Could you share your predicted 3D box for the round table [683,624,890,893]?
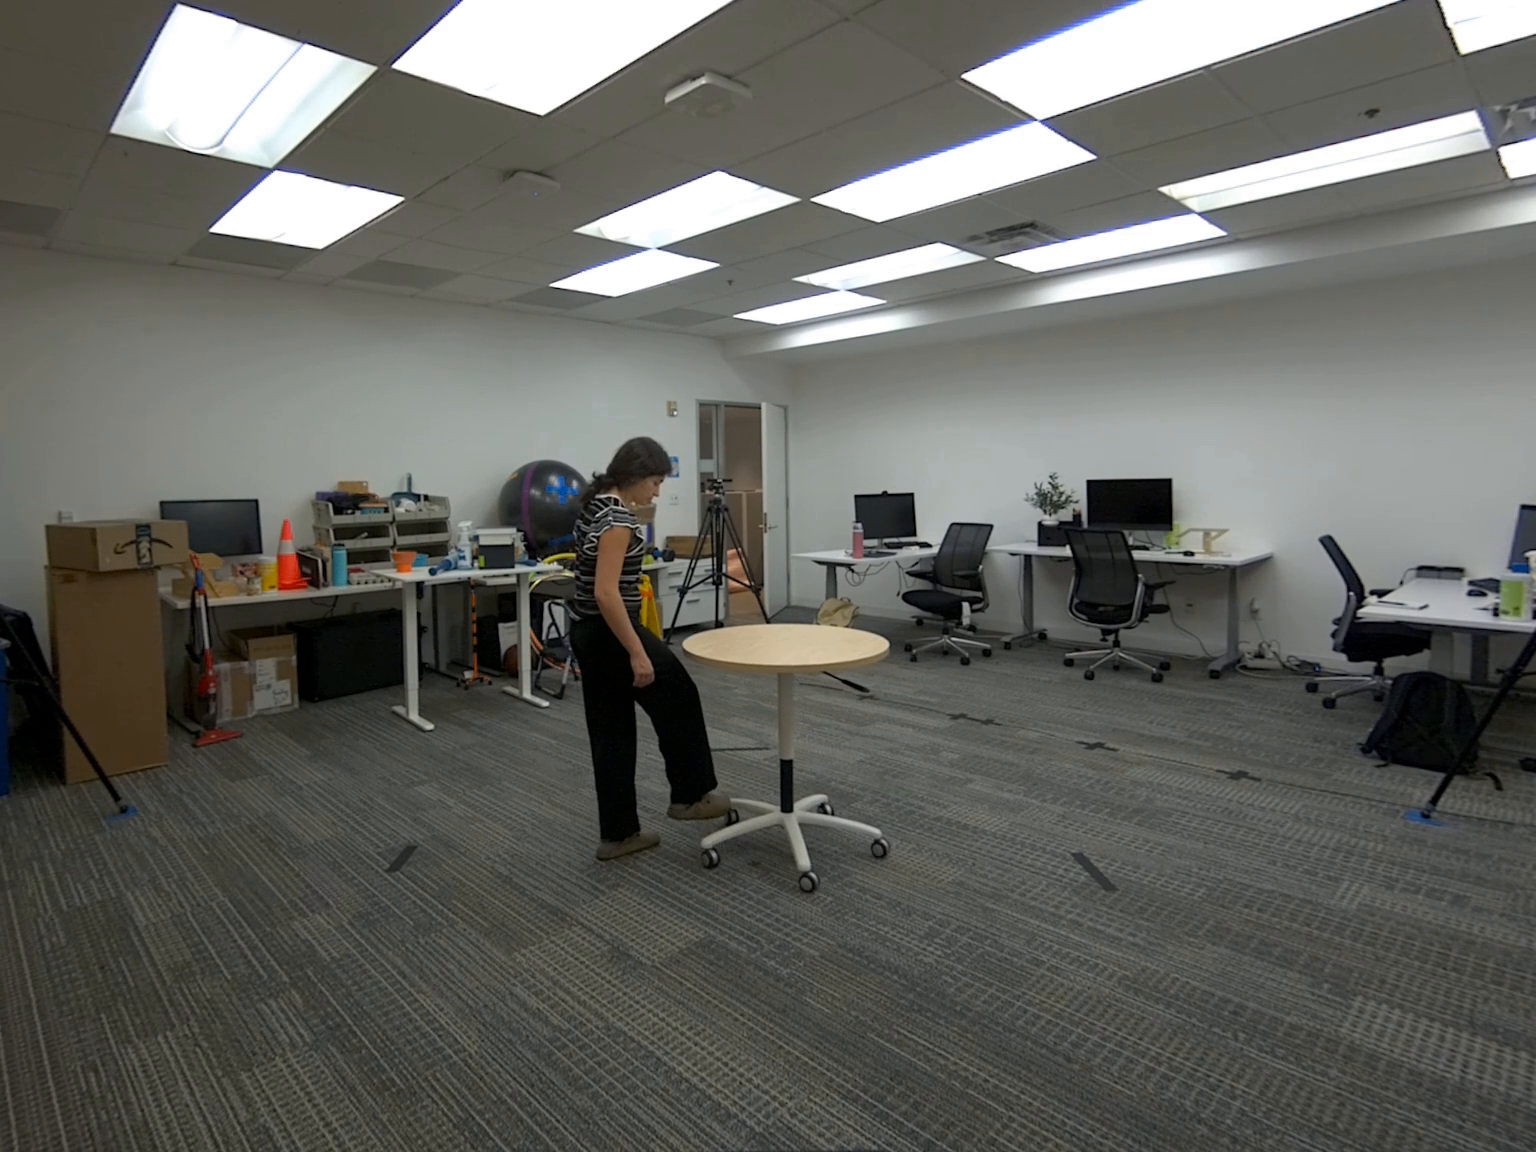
[{"bbox_3d":[0.067,0.631,3.220,0.784,0.783,0.789,-1,5,-2],"label":"round table"}]
